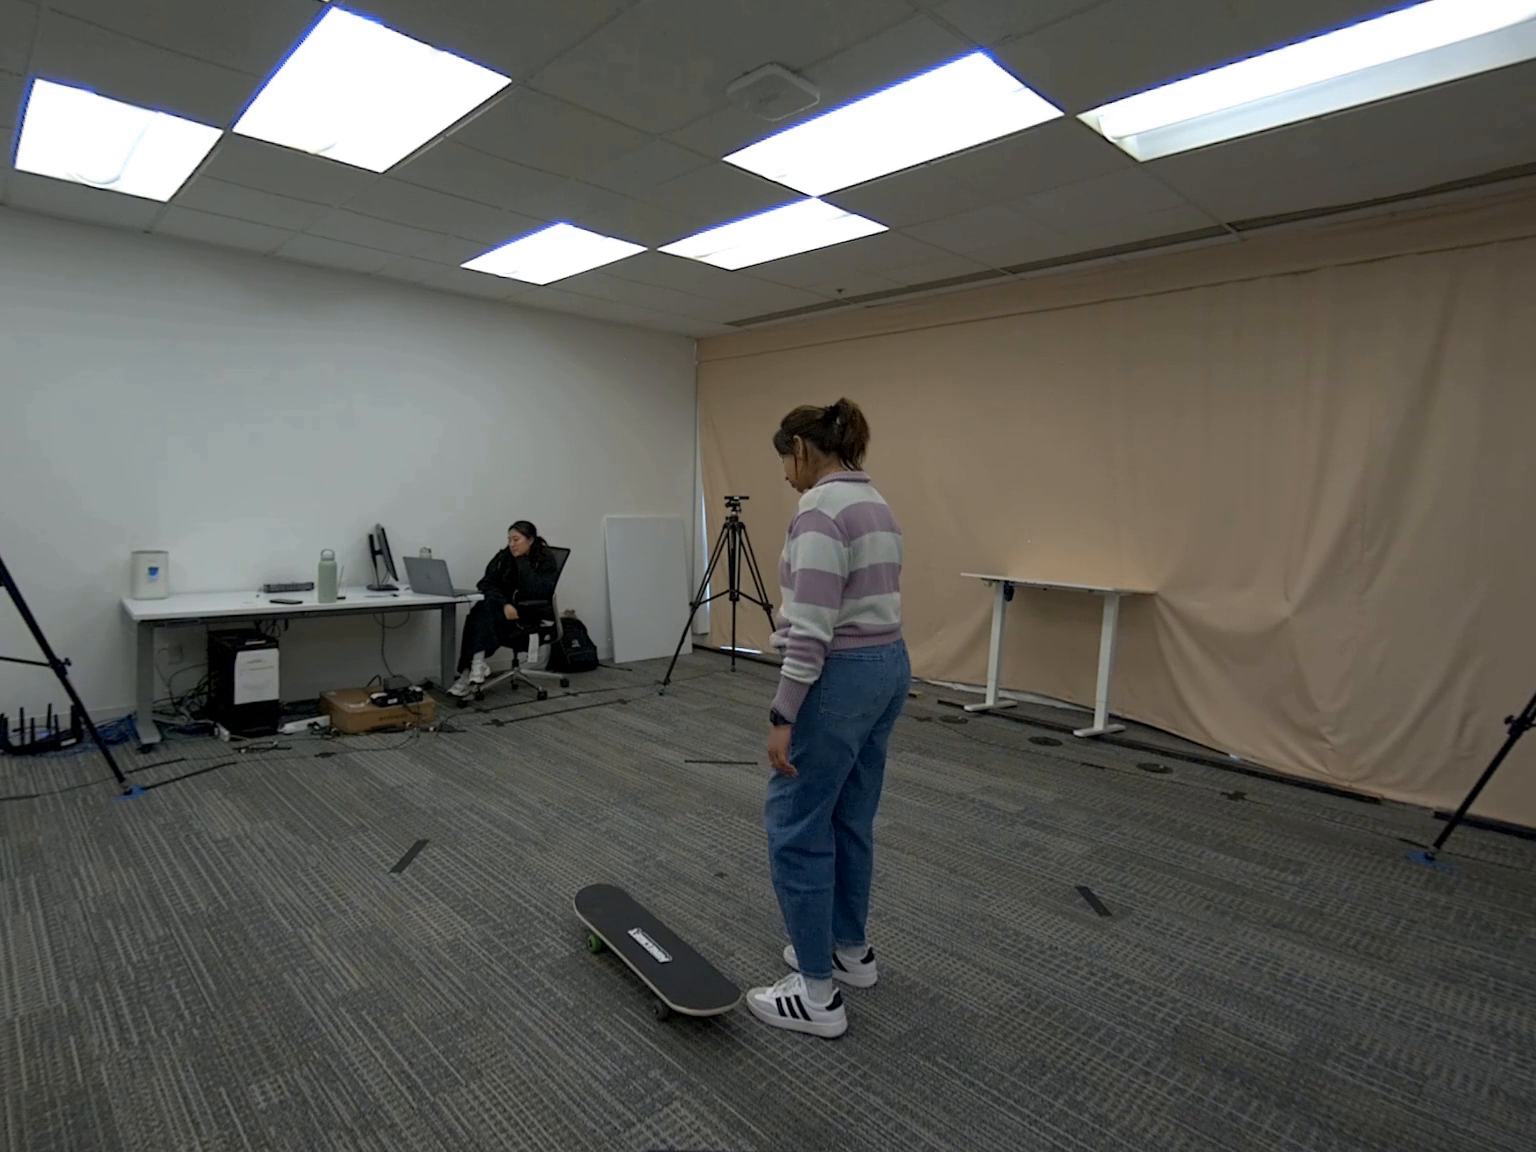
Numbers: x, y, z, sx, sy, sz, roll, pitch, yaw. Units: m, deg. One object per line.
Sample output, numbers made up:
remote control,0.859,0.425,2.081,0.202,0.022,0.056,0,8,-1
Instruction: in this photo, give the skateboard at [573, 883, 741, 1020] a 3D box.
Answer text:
skateboard,-0.356,1.107,2.448,0.189,0.110,0.805,-1,6,-36
